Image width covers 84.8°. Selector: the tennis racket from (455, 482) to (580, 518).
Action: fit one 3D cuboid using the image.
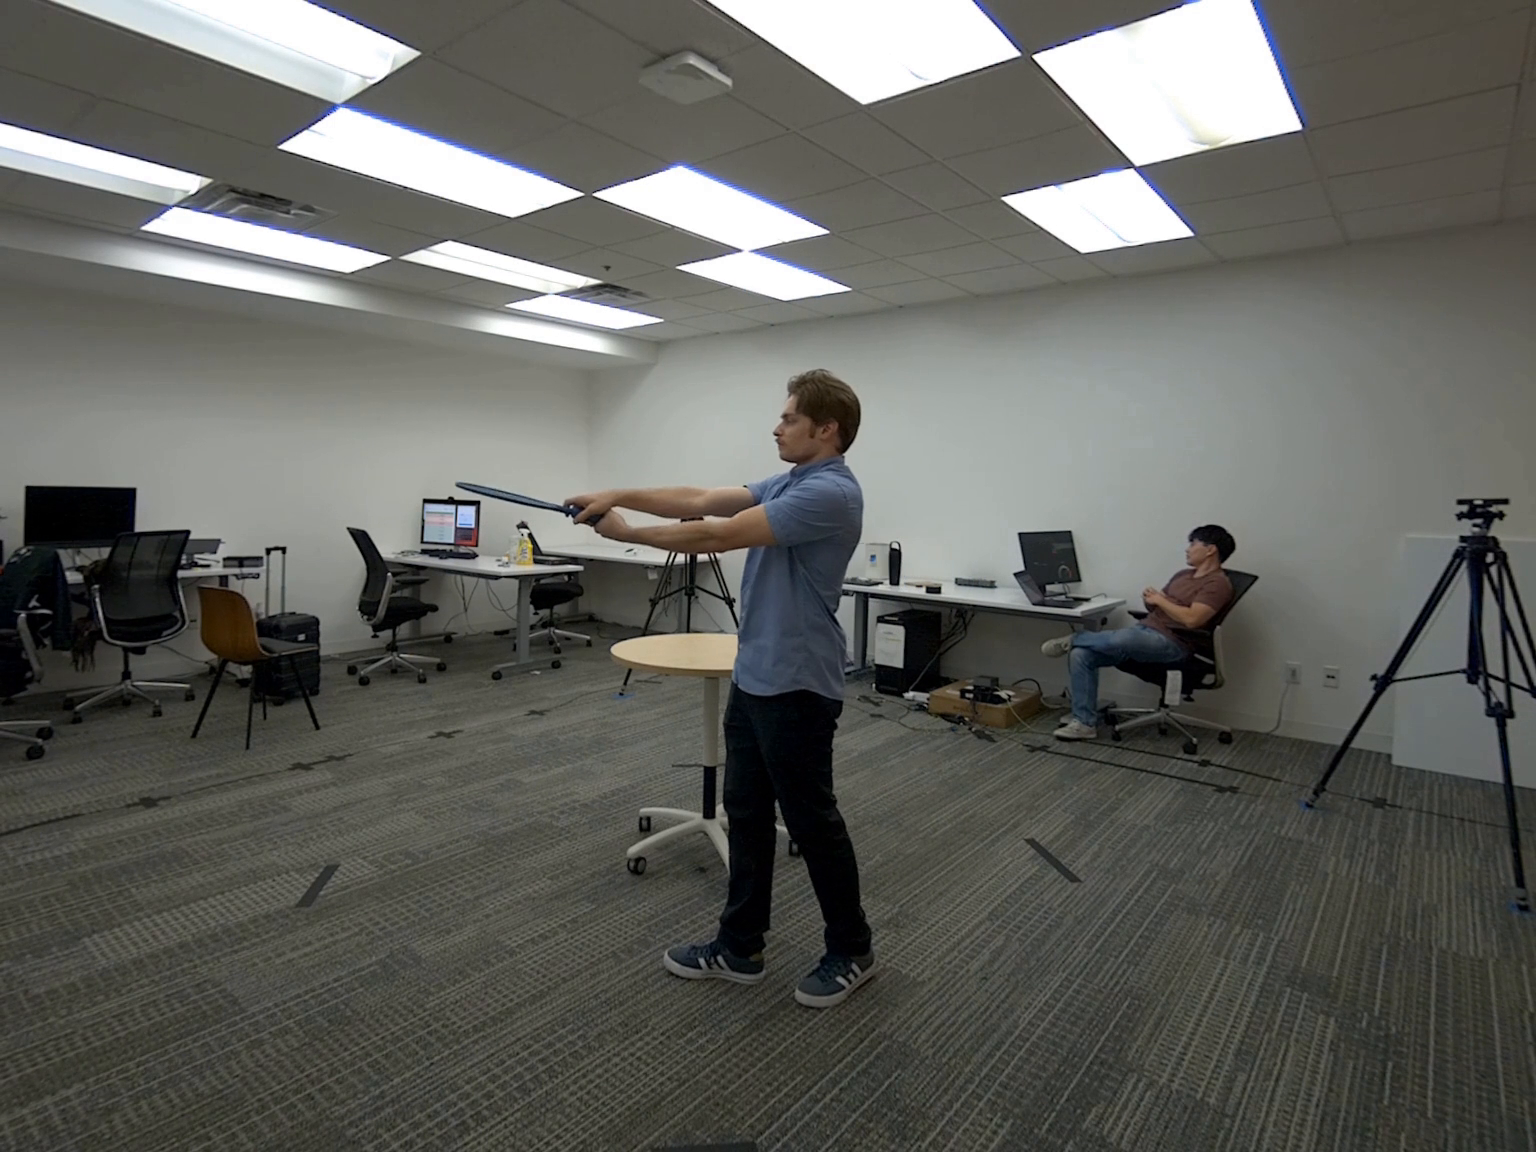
[{"bbox_3d":[-0.629,-0.194,2.251,0.419,0.031,0.221,13,7,-29],"label":"tennis racket"}]
